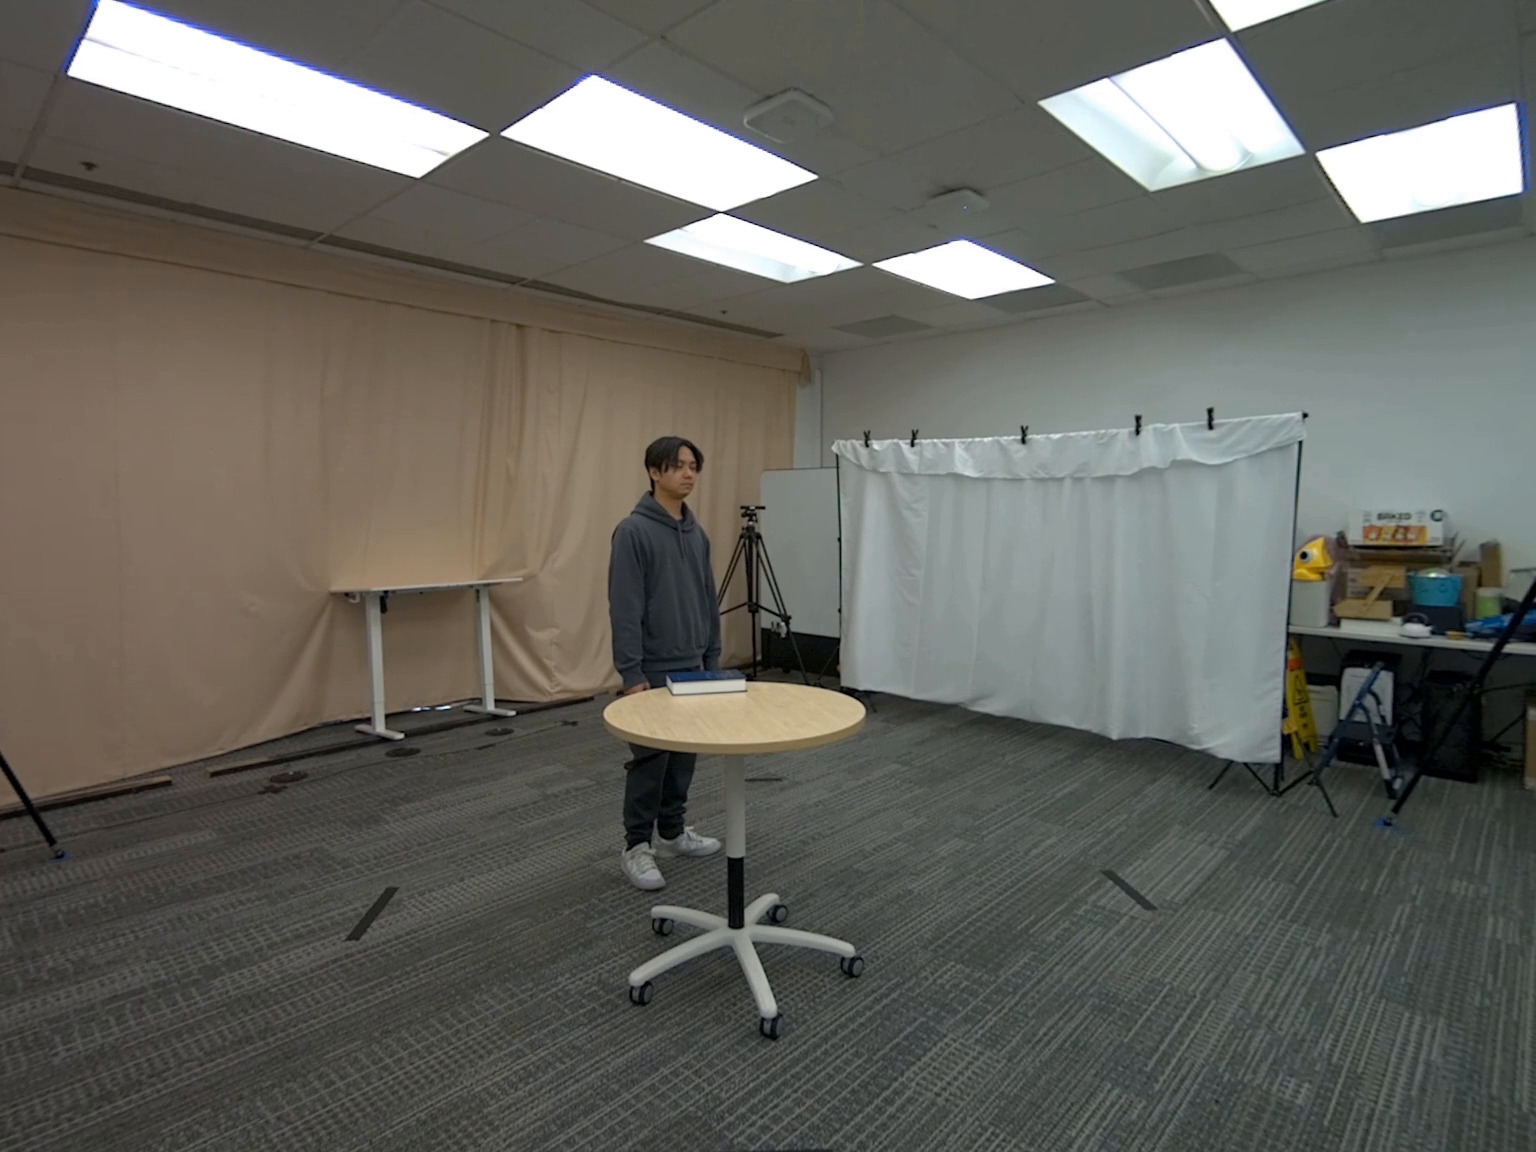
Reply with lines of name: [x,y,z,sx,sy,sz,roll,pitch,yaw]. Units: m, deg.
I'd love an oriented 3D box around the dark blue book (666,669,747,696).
dark blue book: [-0.205,0.349,2.756,0.242,0.045,0.166,-2,5,-12]
